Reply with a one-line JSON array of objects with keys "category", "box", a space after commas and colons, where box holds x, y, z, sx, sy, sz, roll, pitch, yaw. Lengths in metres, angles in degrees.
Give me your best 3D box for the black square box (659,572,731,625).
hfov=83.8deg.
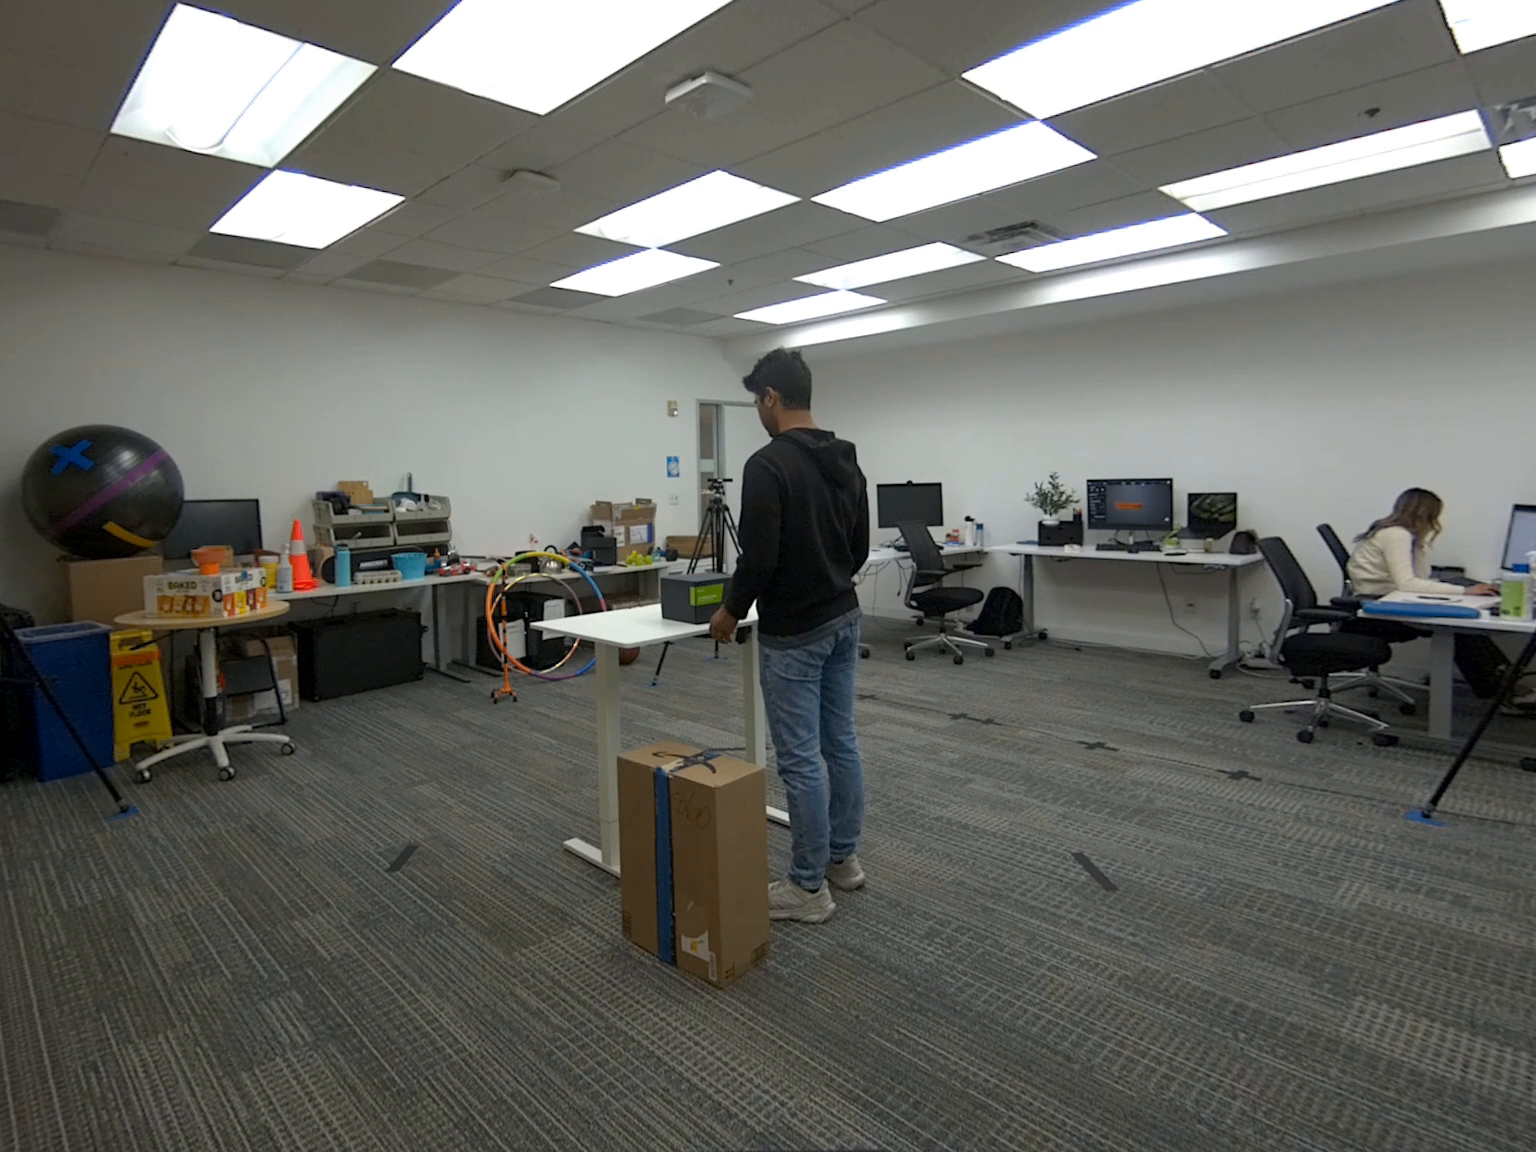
[{"category": "black square box", "box": [-0.241, 0.079, 3.174, 0.222, 0.155, 0.224, -6, 7, -41]}]
